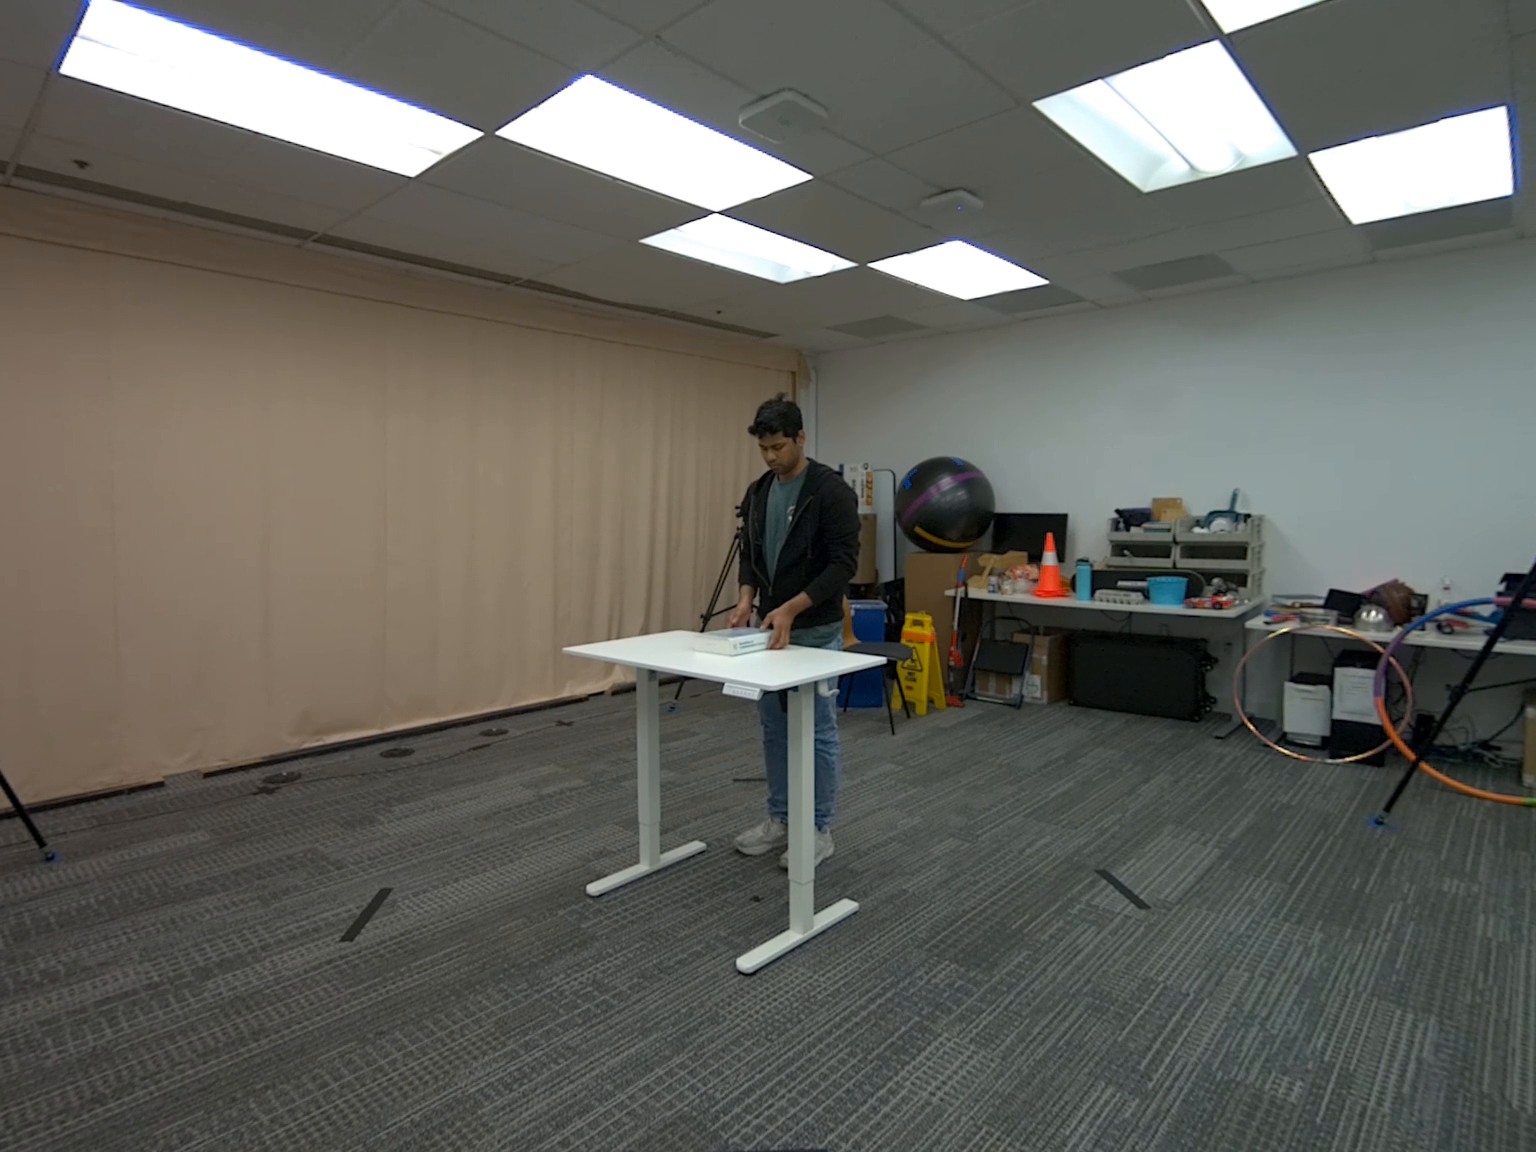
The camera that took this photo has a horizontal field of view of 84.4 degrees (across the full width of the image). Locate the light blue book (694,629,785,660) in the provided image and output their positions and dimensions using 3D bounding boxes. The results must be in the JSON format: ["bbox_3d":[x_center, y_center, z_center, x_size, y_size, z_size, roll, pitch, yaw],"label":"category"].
[{"bbox_3d":[-0.100,0.238,3.004,0.198,0.059,0.253,3,5,44],"label":"light blue book"}]
